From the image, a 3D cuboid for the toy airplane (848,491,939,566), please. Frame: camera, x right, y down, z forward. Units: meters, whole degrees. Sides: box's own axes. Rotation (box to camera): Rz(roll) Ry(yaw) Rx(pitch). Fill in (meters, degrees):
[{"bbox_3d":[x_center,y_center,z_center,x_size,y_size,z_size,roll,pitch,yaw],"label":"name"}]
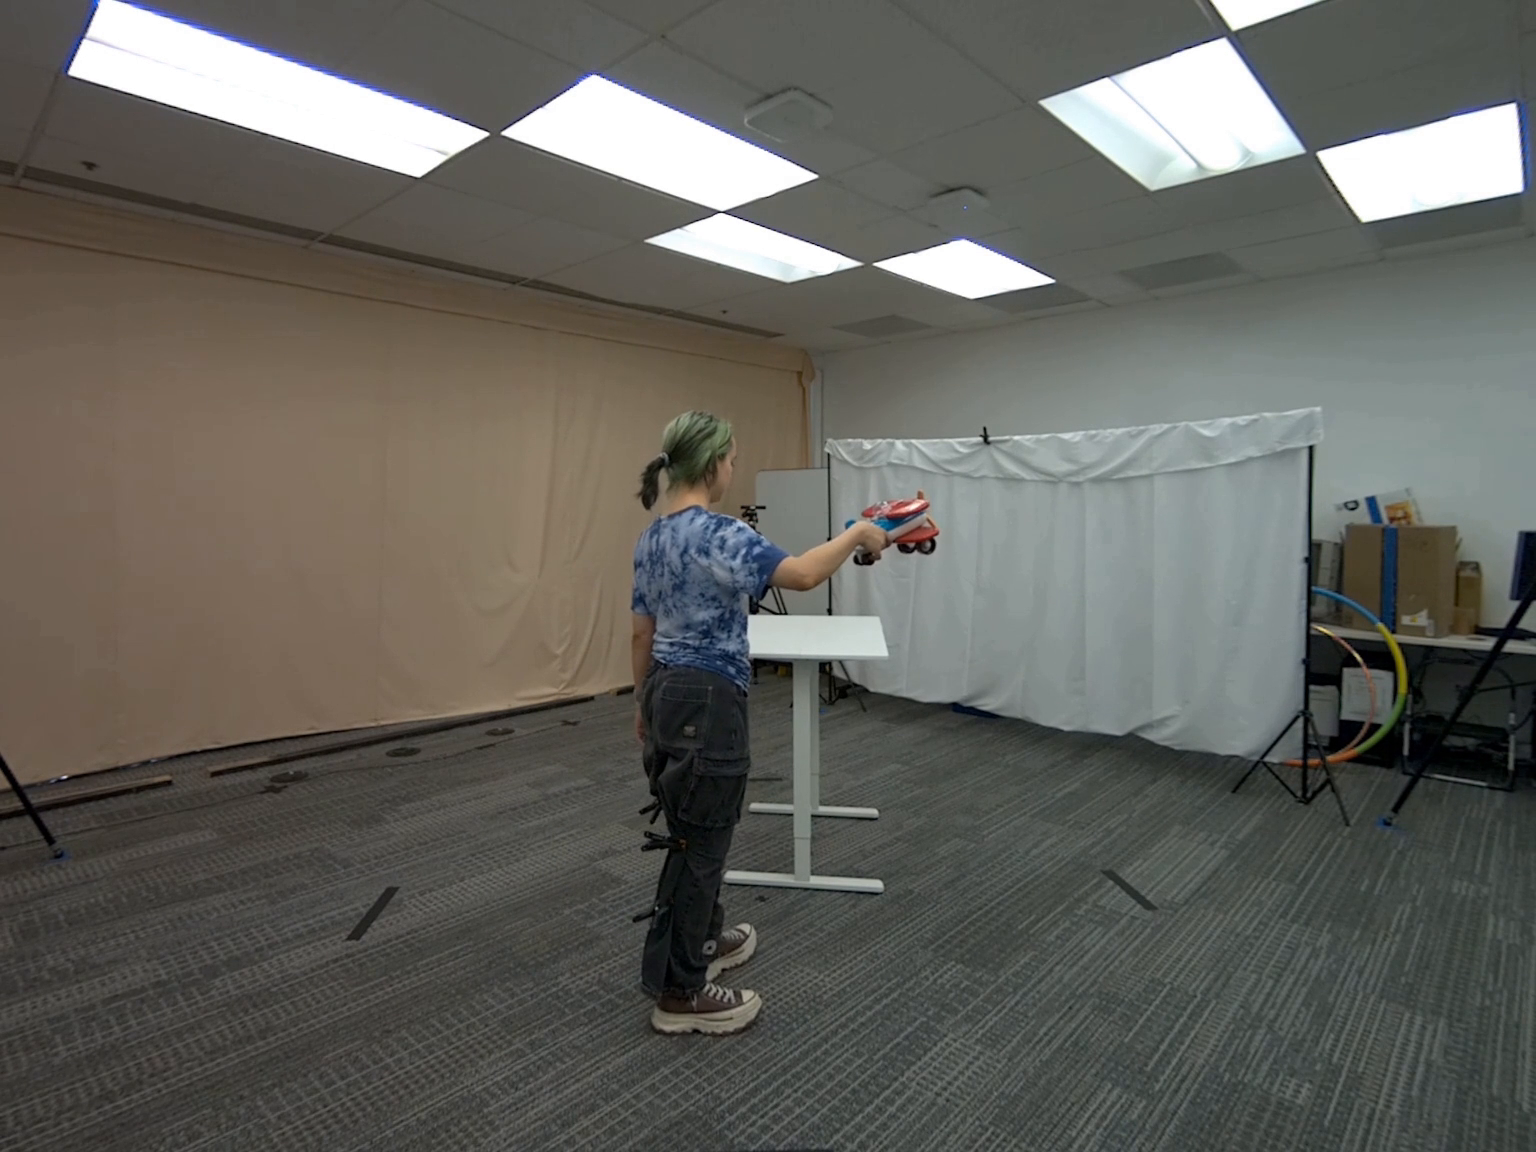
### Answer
[{"bbox_3d":[0.353,-0.117,2.280,0.258,0.156,0.253,-7,6,35],"label":"toy airplane"}]
